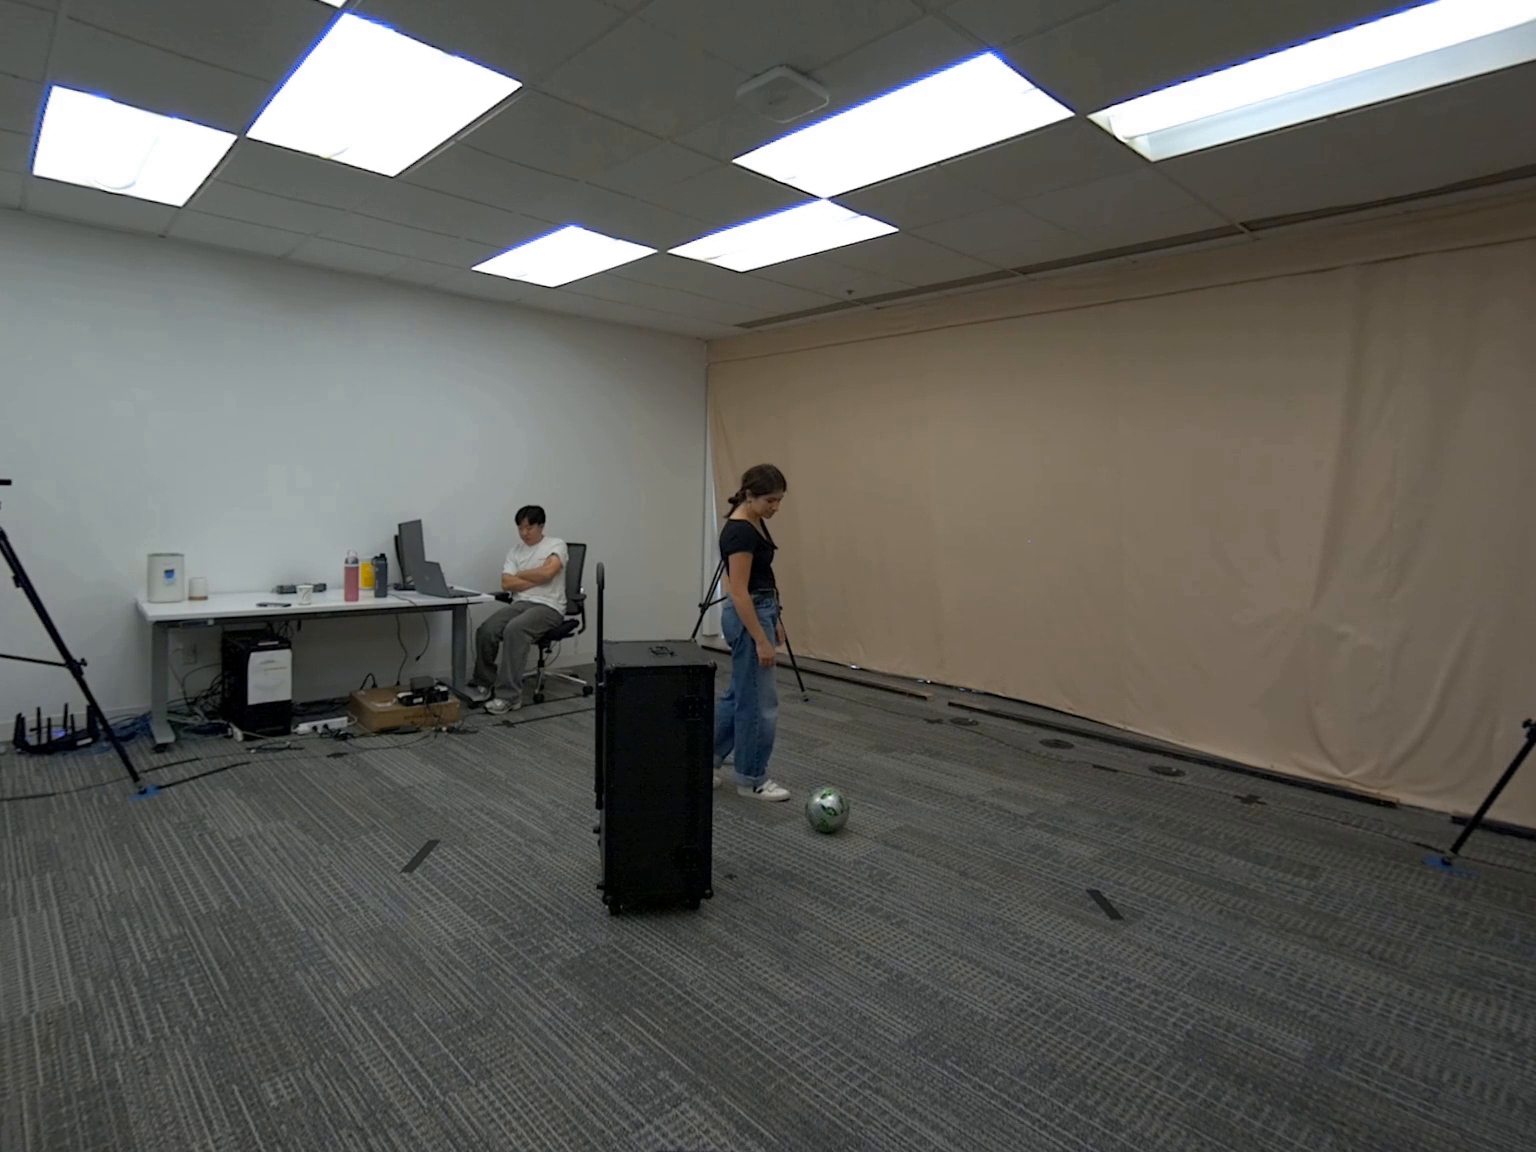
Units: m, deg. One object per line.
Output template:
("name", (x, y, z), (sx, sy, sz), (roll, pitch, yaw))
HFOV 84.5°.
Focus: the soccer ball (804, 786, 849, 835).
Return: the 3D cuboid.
("soccer ball", (0.242, 0.988, 3.550), (0.187, 0.187, 0.188), (1, 4, -1))
